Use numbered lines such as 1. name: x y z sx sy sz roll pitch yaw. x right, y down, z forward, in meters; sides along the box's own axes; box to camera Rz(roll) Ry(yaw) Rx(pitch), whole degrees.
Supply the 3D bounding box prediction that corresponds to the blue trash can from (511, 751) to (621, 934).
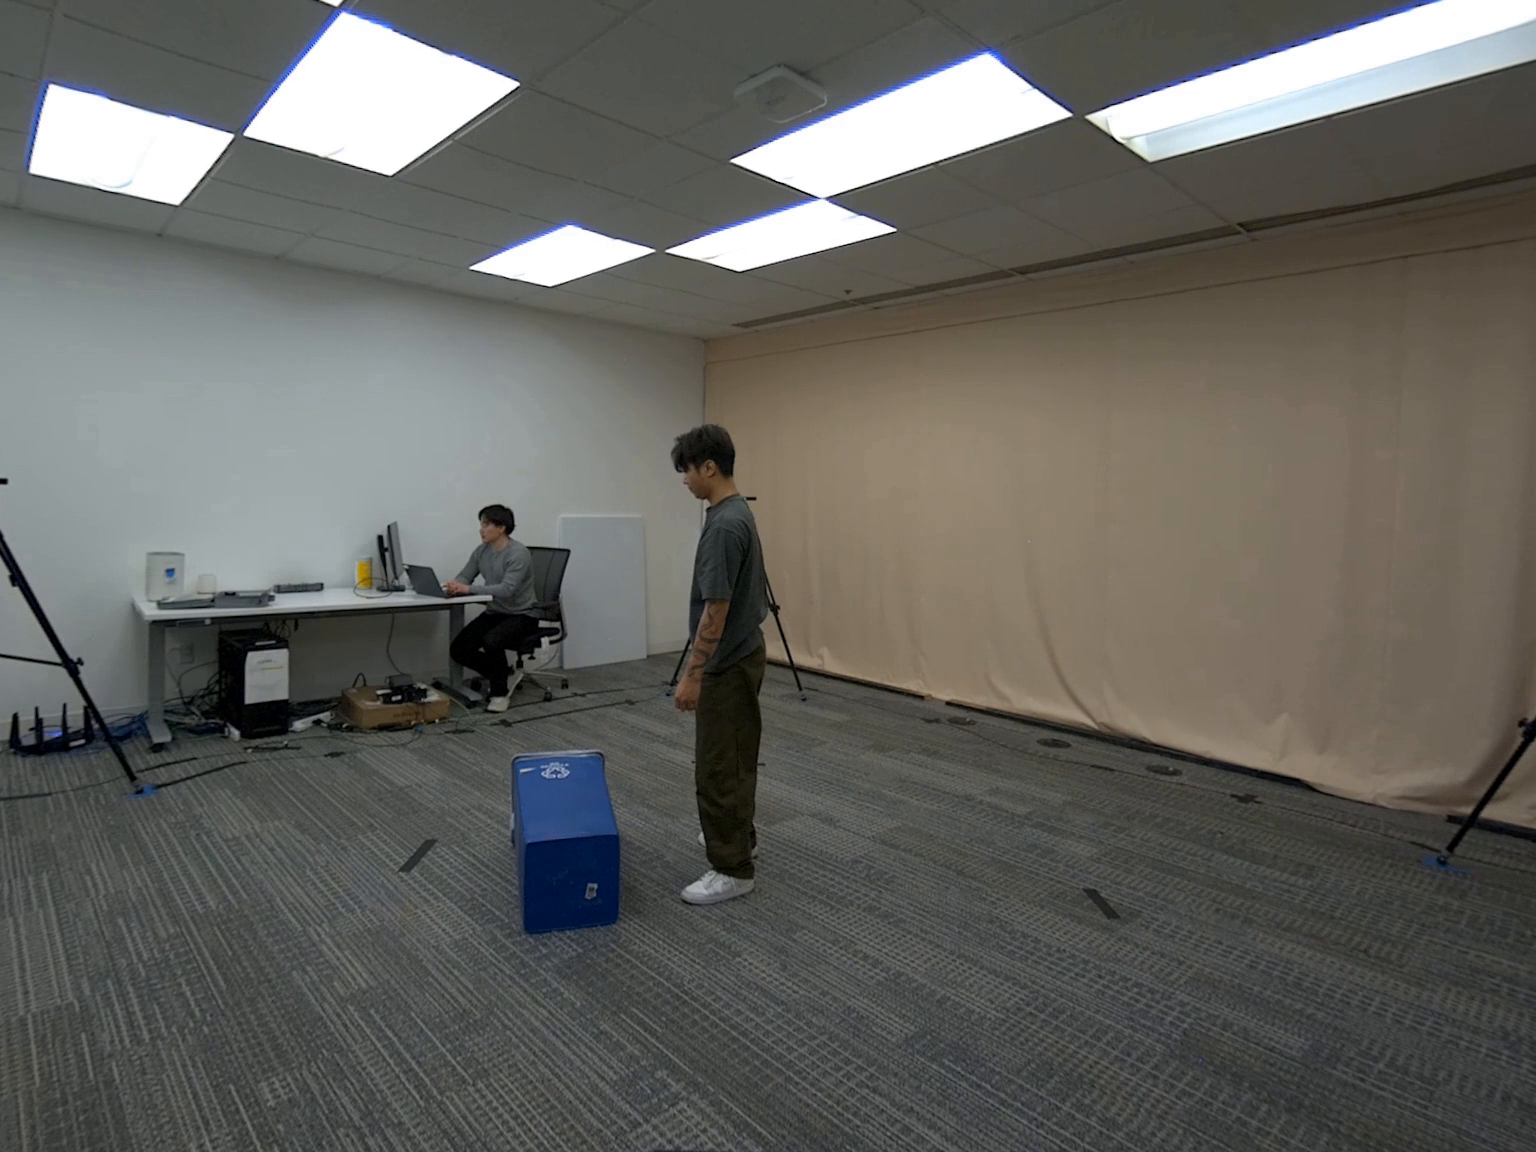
1. blue trash can: -0.734 0.925 3.015 0.373 0.373 0.726 1 6 -18
